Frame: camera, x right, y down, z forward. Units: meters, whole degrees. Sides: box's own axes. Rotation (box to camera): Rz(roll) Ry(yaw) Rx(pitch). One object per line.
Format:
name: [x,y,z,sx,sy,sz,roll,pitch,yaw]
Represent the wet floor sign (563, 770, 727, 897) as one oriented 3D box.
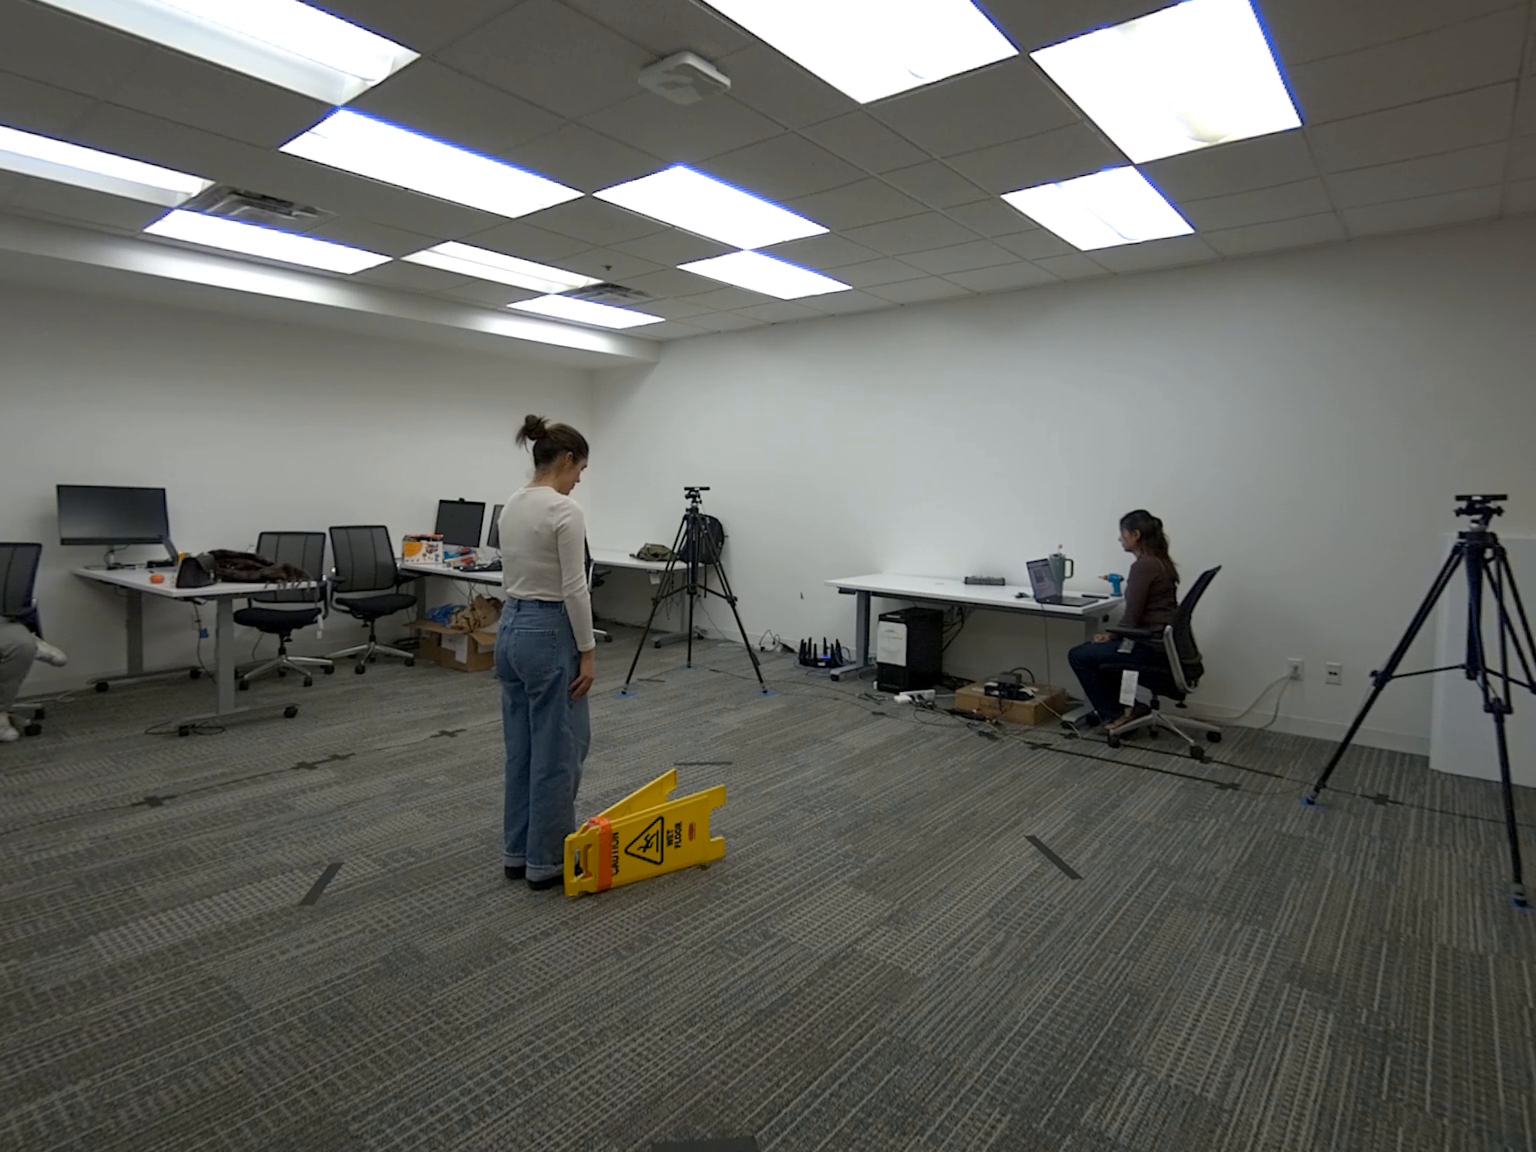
wet floor sign: [-0.472,0.939,3.054,0.299,0.281,0.628,3,7,40]
